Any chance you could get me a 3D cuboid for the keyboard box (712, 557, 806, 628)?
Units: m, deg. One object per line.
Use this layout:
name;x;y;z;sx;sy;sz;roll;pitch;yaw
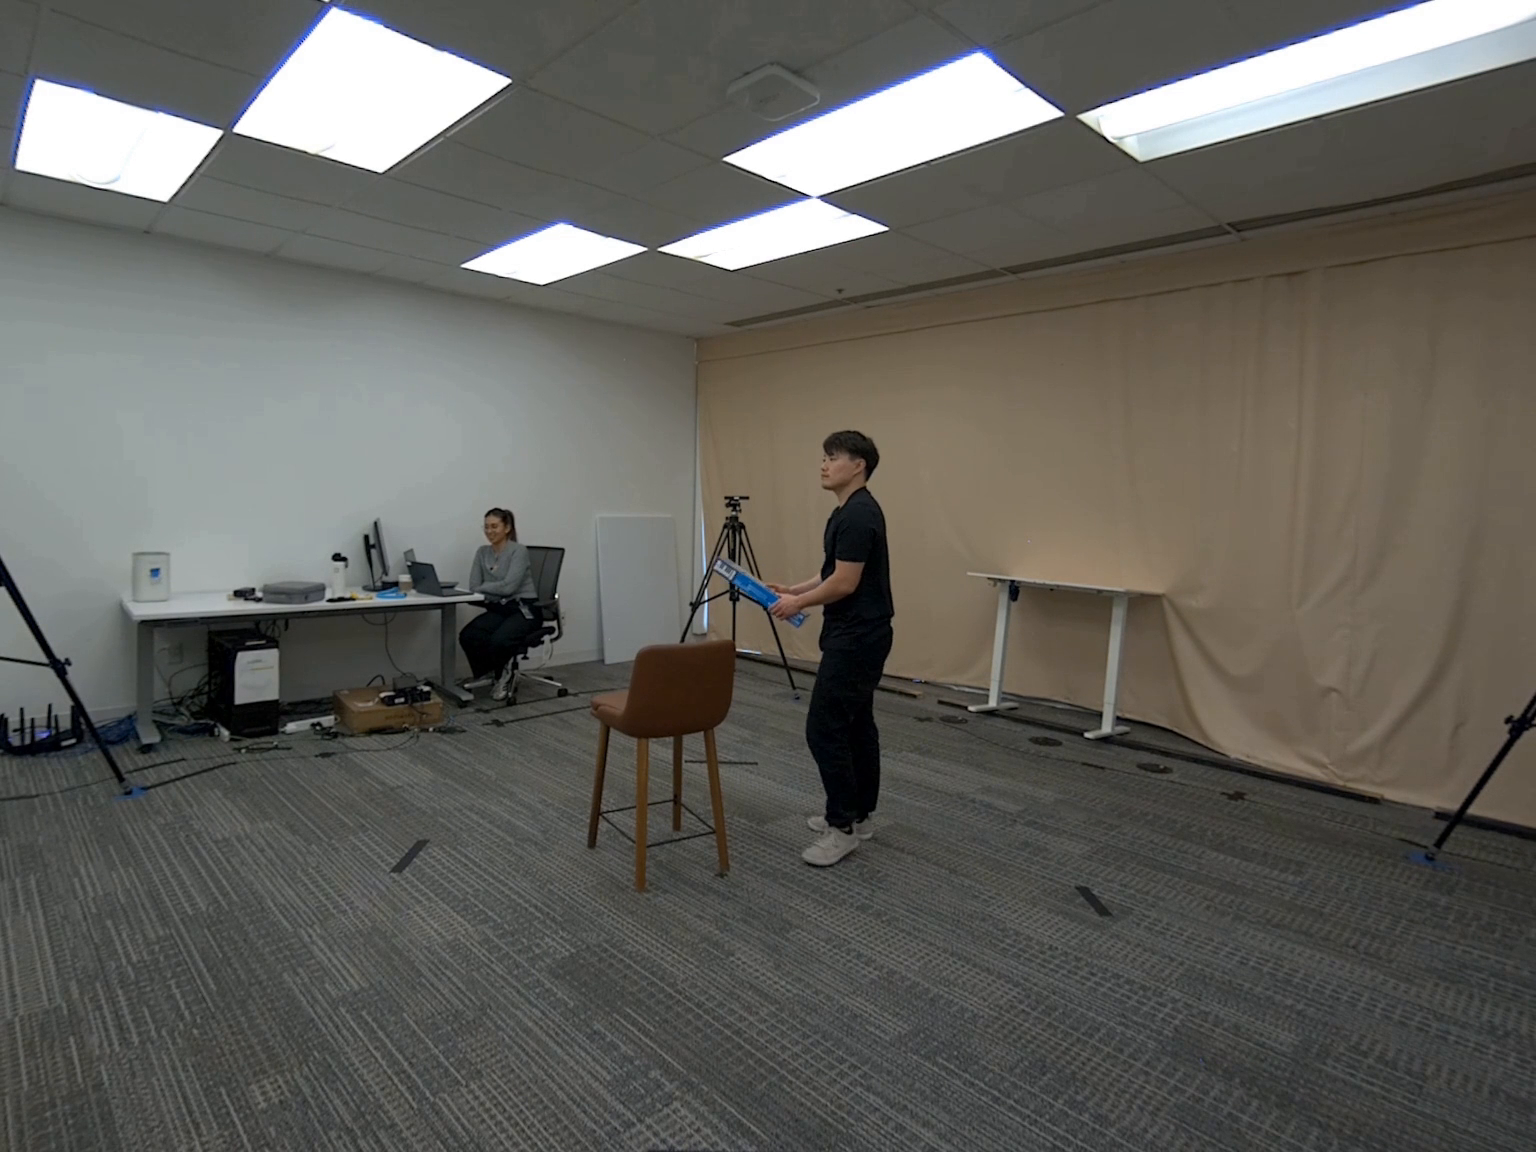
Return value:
keyboard box;-0.033;0.065;3.511;0.443;0.059;0.174;34;6;12
